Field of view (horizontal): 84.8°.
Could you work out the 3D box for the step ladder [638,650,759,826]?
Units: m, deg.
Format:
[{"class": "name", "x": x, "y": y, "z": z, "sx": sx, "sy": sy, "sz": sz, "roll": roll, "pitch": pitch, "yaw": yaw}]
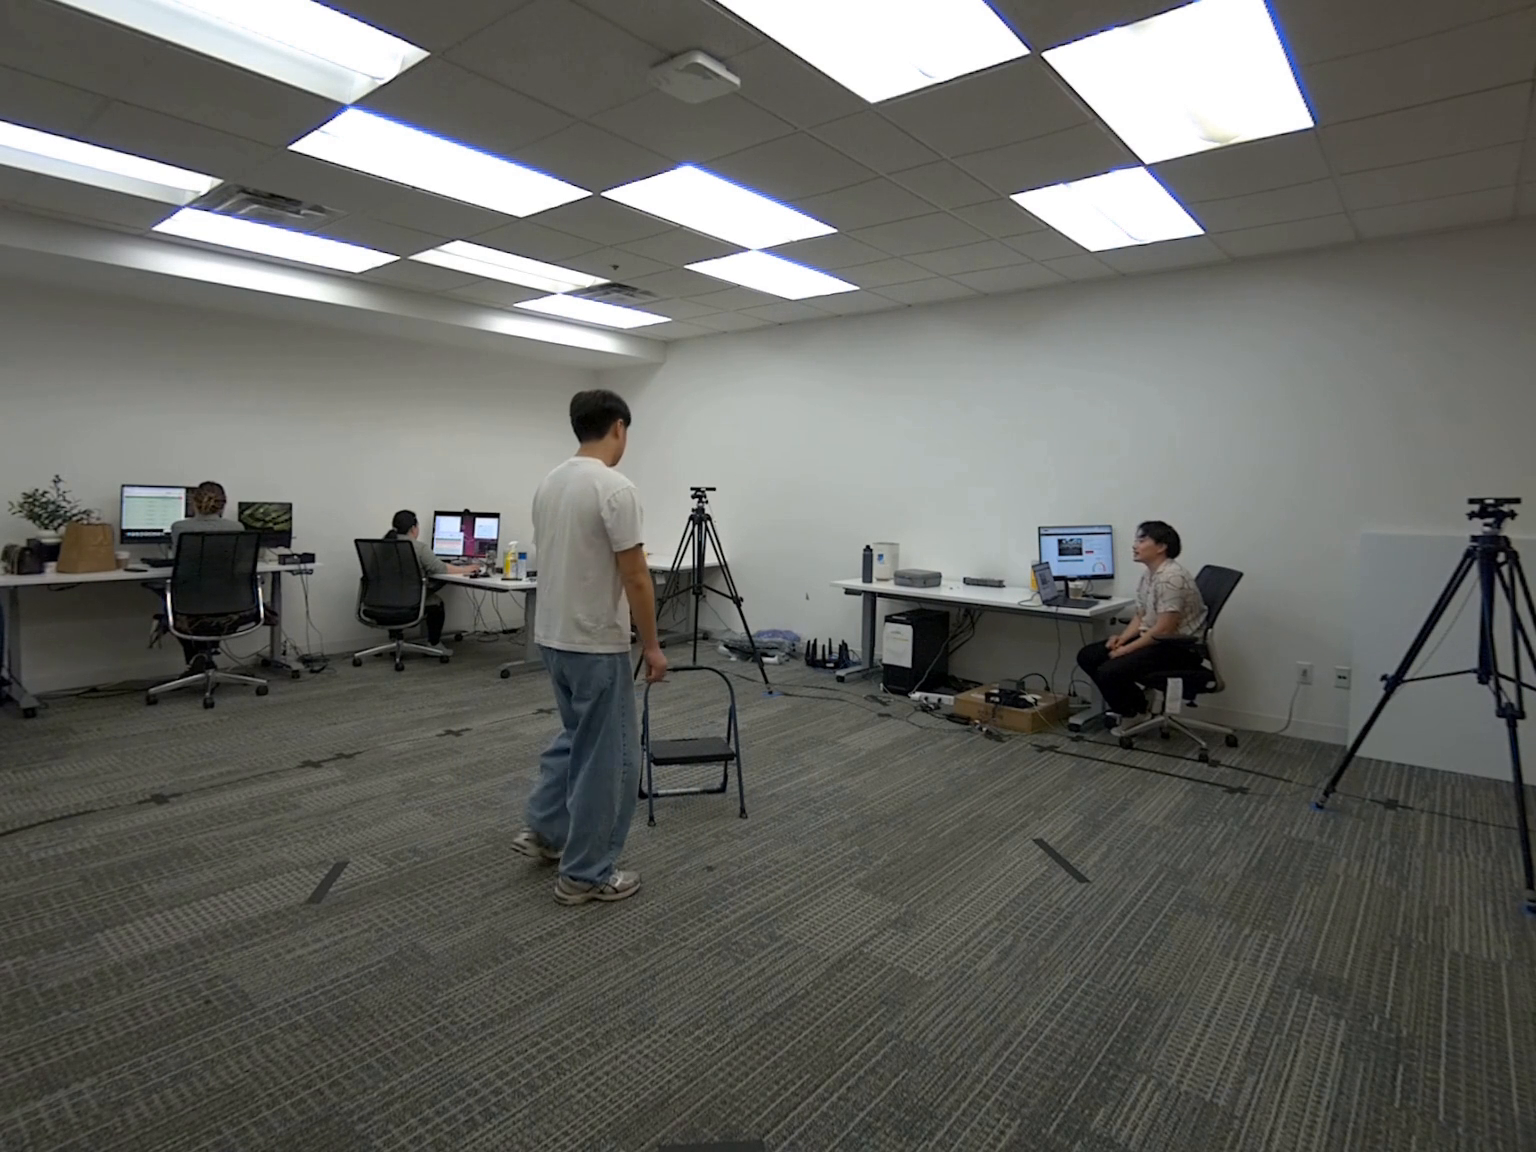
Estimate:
[{"class": "step ladder", "x": -0.342, "y": 0.706, "z": 3.693, "sx": 0.423, "sy": 0.604, "sz": 0.356, "roll": 0, "pitch": 3, "yaw": -17}]
